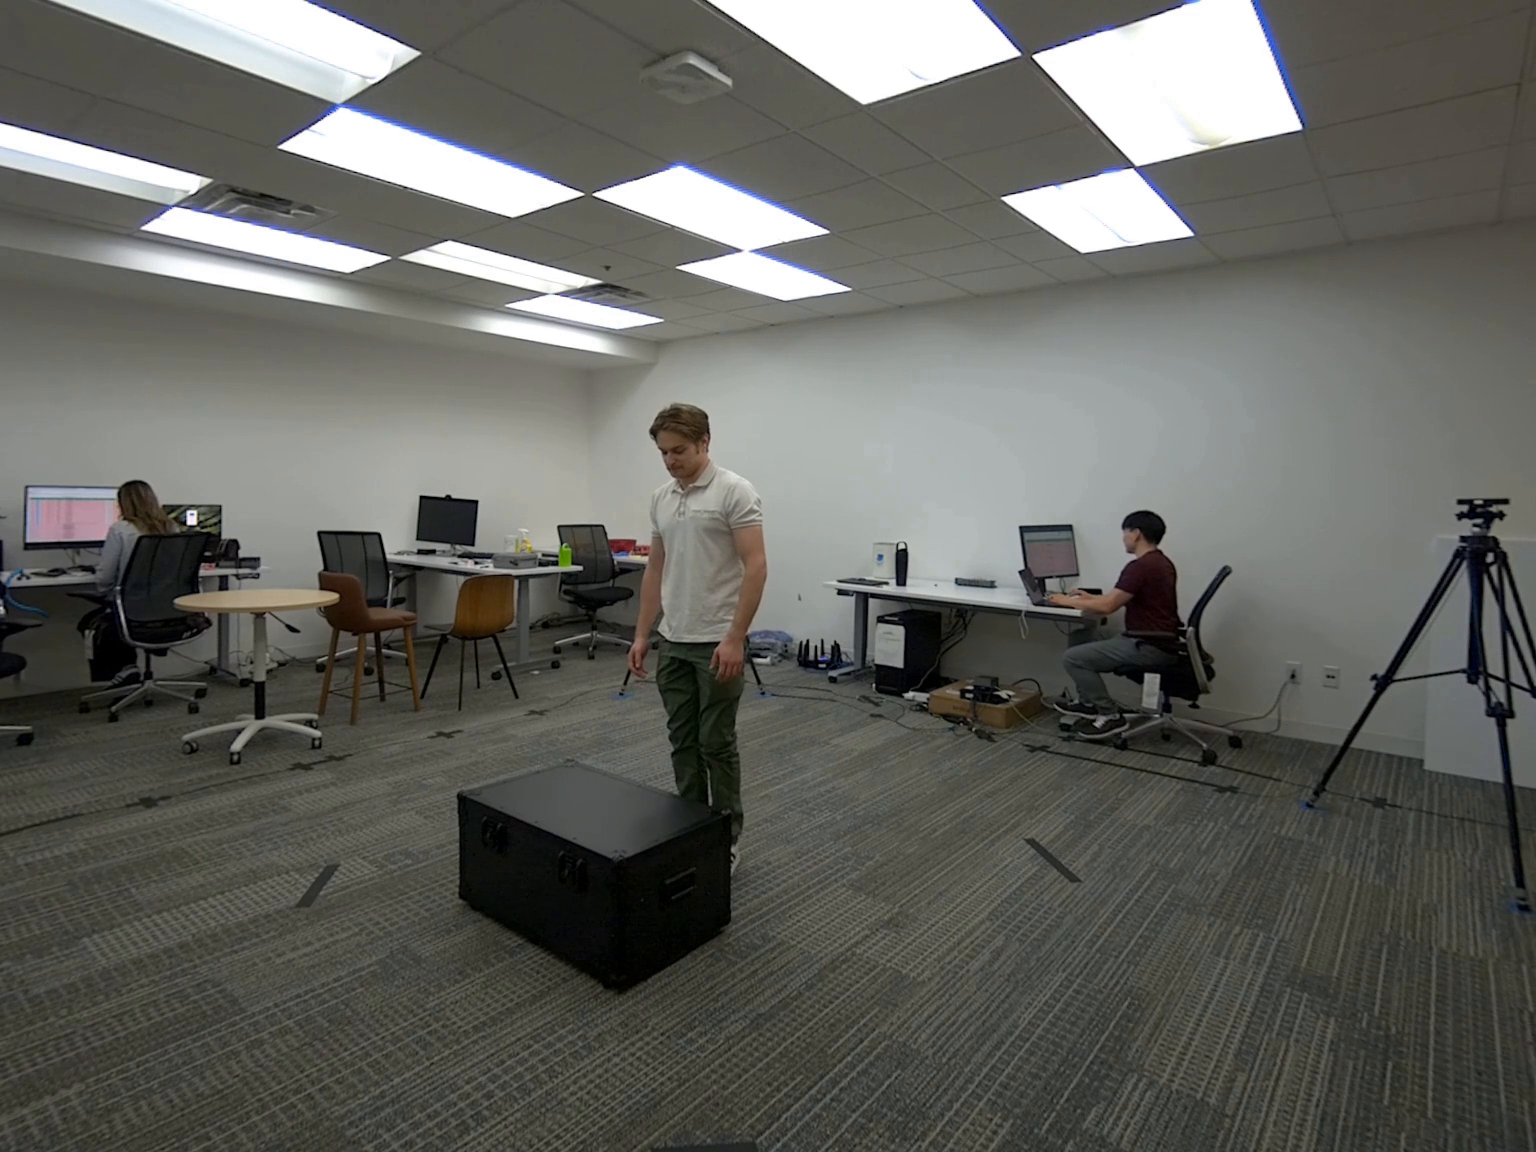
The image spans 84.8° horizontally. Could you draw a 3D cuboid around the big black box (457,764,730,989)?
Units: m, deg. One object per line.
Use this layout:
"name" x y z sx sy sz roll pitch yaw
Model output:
"big black box" -0.602 0.902 2.762 0.898 0.383 0.508 5 7 39
